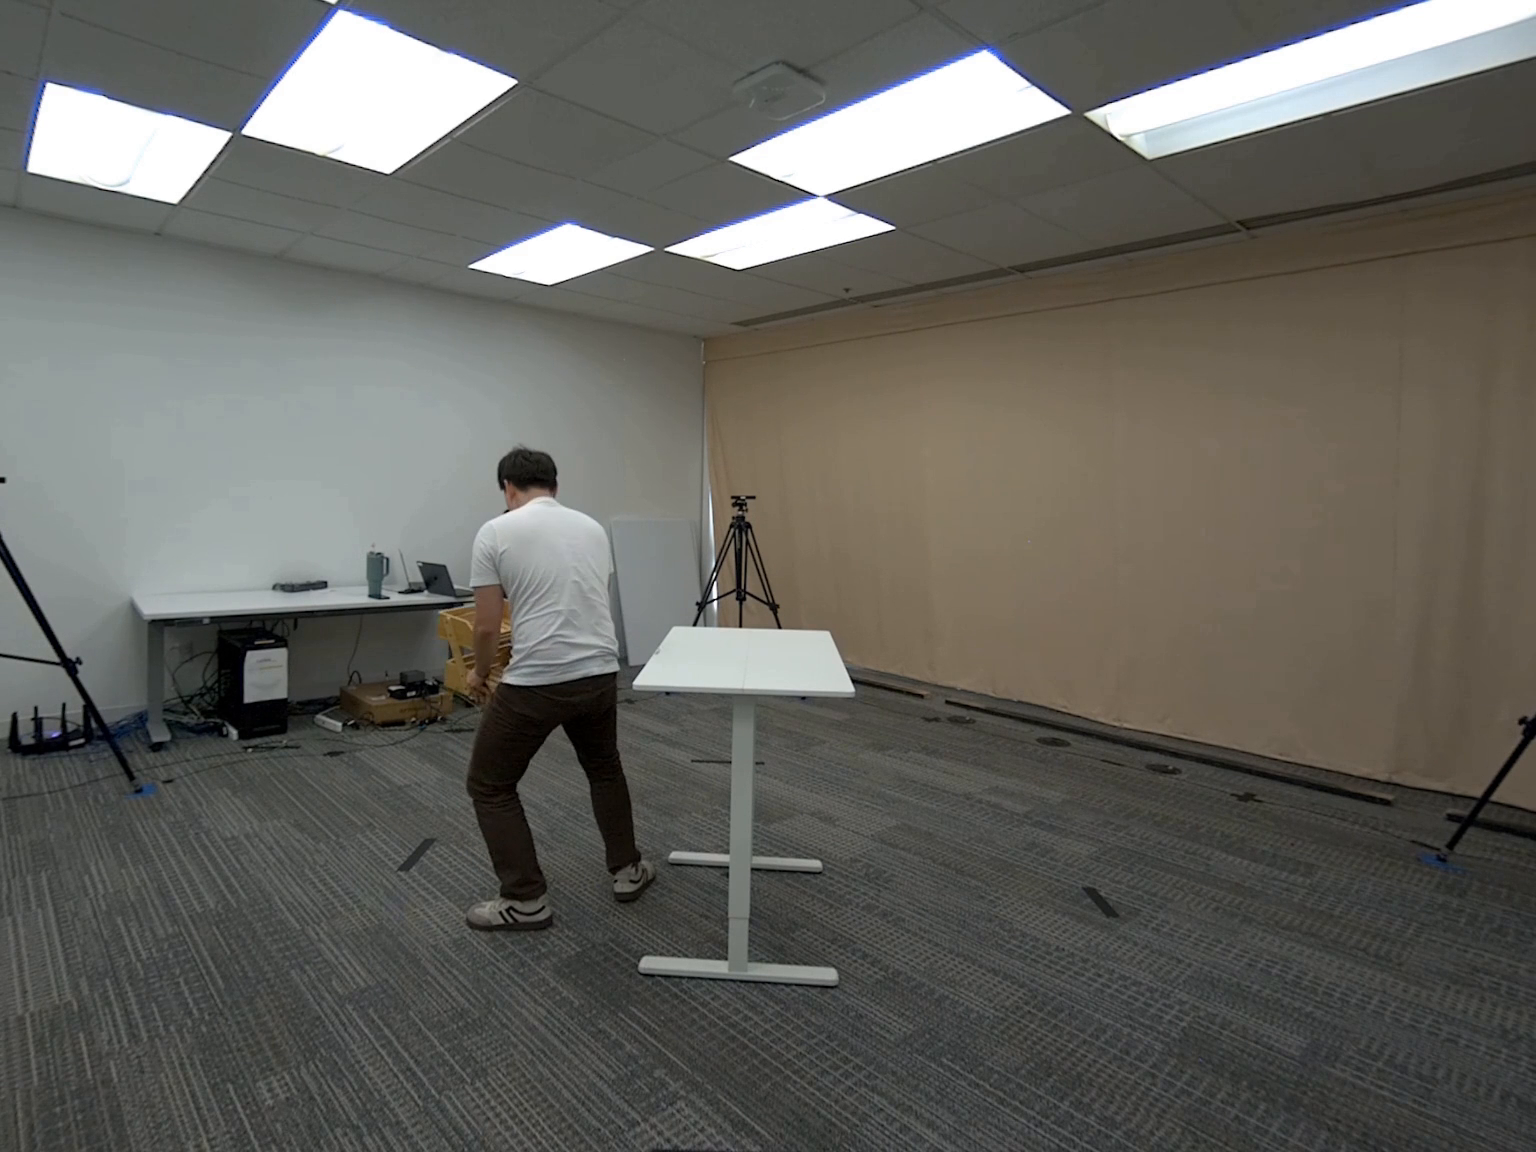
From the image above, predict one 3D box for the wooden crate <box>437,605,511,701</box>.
[{"bbox_3d":[-0.970,0.265,3.015,0.309,0.271,0.319,14,14,29],"label":"wooden crate"}]
